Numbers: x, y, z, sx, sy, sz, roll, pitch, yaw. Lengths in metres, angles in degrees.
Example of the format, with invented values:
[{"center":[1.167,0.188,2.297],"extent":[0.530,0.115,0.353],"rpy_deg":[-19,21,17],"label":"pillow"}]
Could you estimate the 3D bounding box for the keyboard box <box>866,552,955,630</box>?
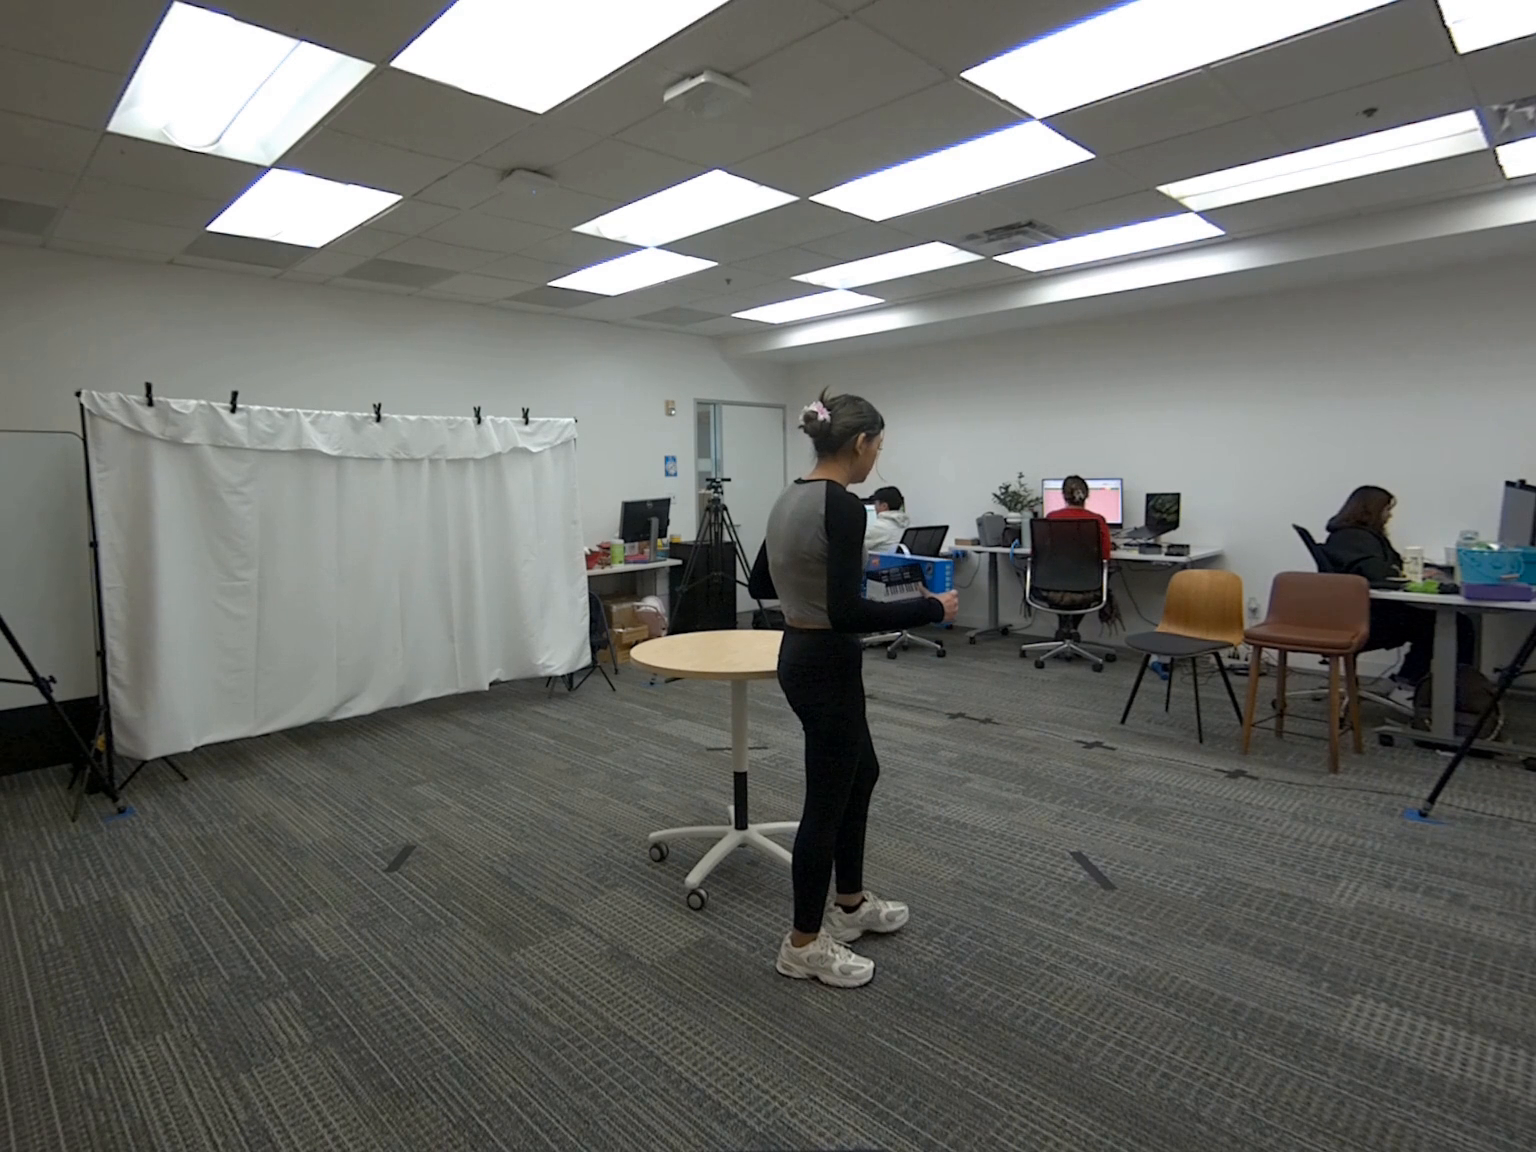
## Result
[{"center":[0.375,0.029,2.447],"extent":[0.058,0.175,0.447],"rpy_deg":[0,4,-24],"label":"keyboard box"}]
